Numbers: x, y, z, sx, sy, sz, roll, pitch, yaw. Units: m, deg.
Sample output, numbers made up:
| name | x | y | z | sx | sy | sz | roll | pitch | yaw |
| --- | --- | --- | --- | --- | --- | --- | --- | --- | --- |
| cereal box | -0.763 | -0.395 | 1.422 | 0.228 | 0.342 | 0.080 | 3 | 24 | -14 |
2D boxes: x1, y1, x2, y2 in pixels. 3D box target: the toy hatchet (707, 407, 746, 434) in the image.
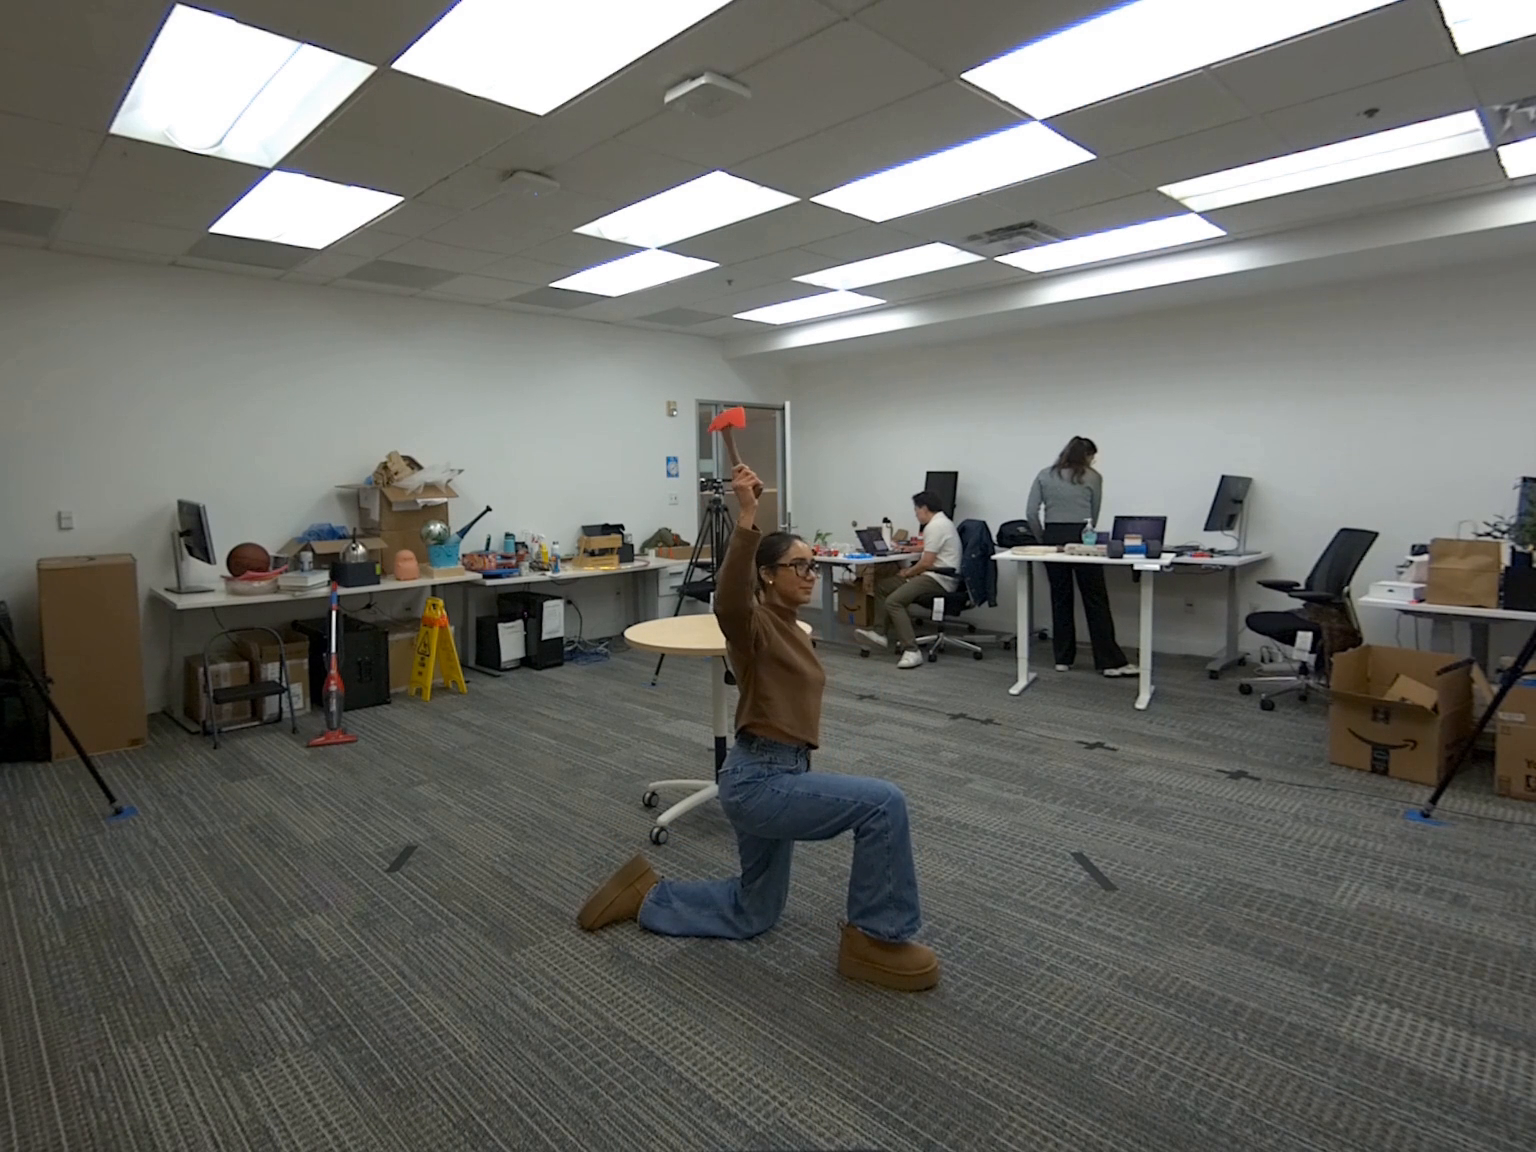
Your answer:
| name | x | y | z | sx | sy | sz | roll | pitch | yaw |
| --- | --- | --- | --- | --- | --- | --- | --- | --- | --- |
| toy hatchet | -0.054 | -0.341 | 2.272 | 0.029 | 0.278 | 0.131 | -1 | -40 | -53 |
